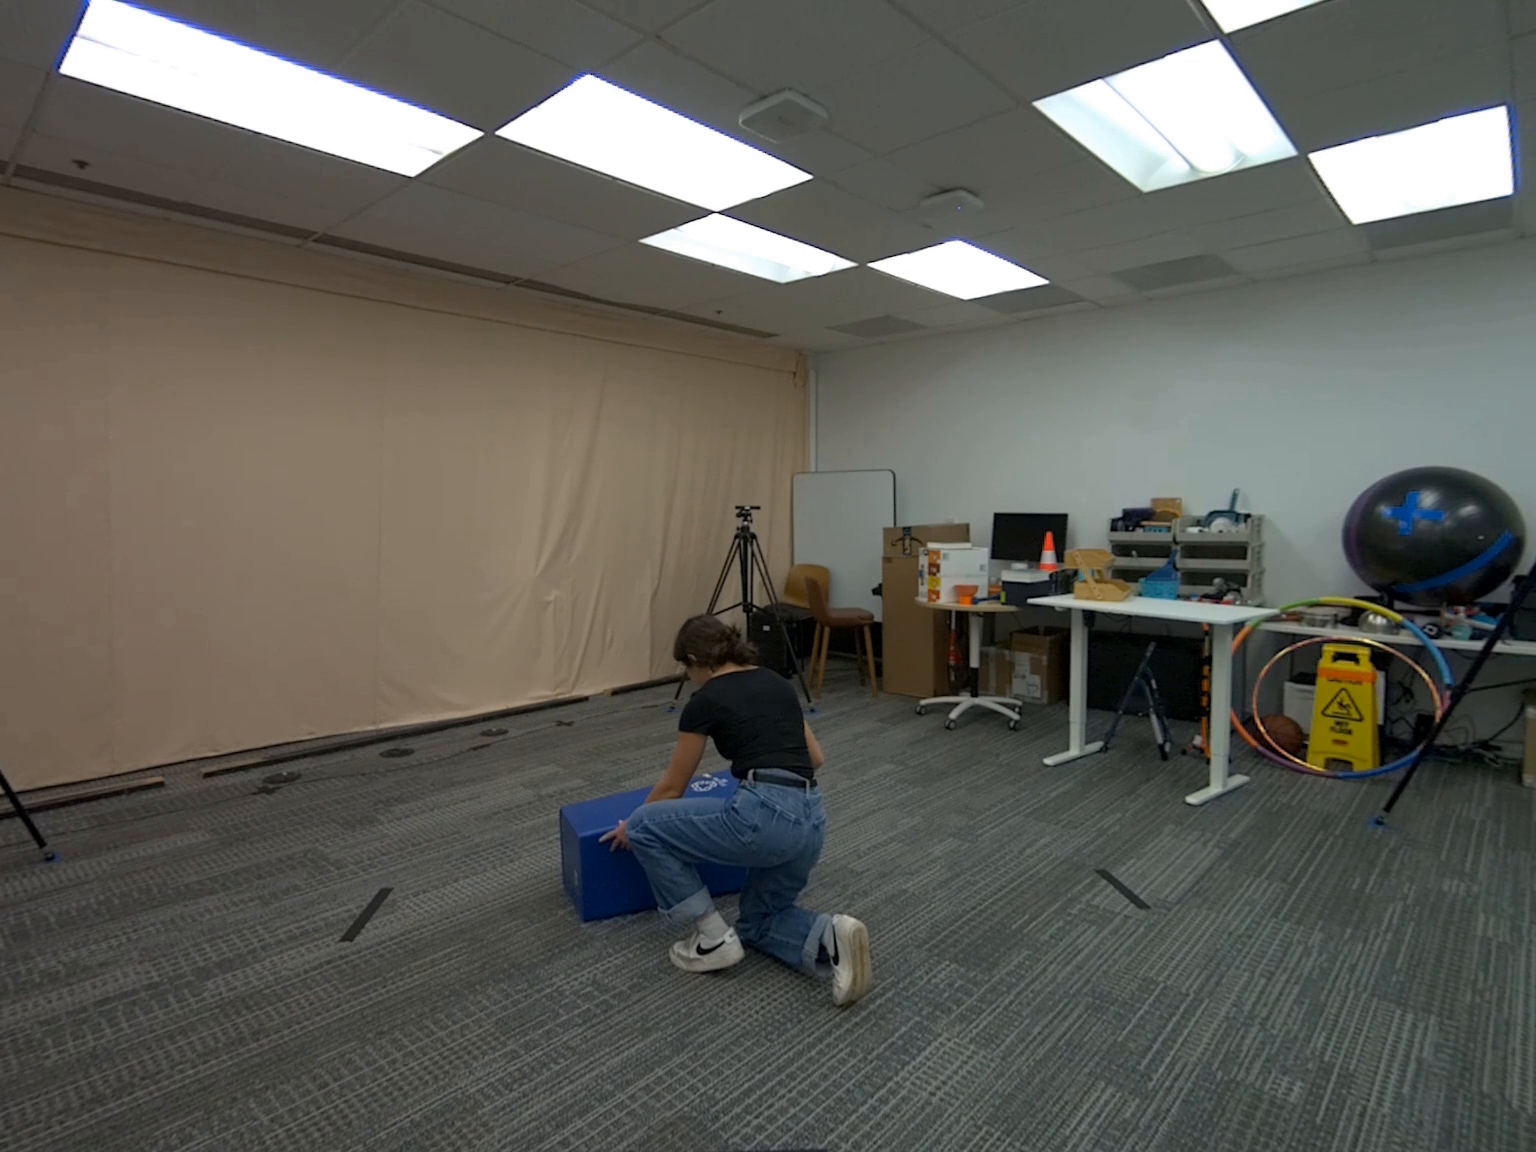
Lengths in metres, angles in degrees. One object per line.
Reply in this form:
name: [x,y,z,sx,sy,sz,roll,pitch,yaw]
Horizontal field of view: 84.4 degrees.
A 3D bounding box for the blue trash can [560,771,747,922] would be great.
blue trash can: [-0.366,0.972,3.067,0.698,0.377,0.384,-5,6,-24]
